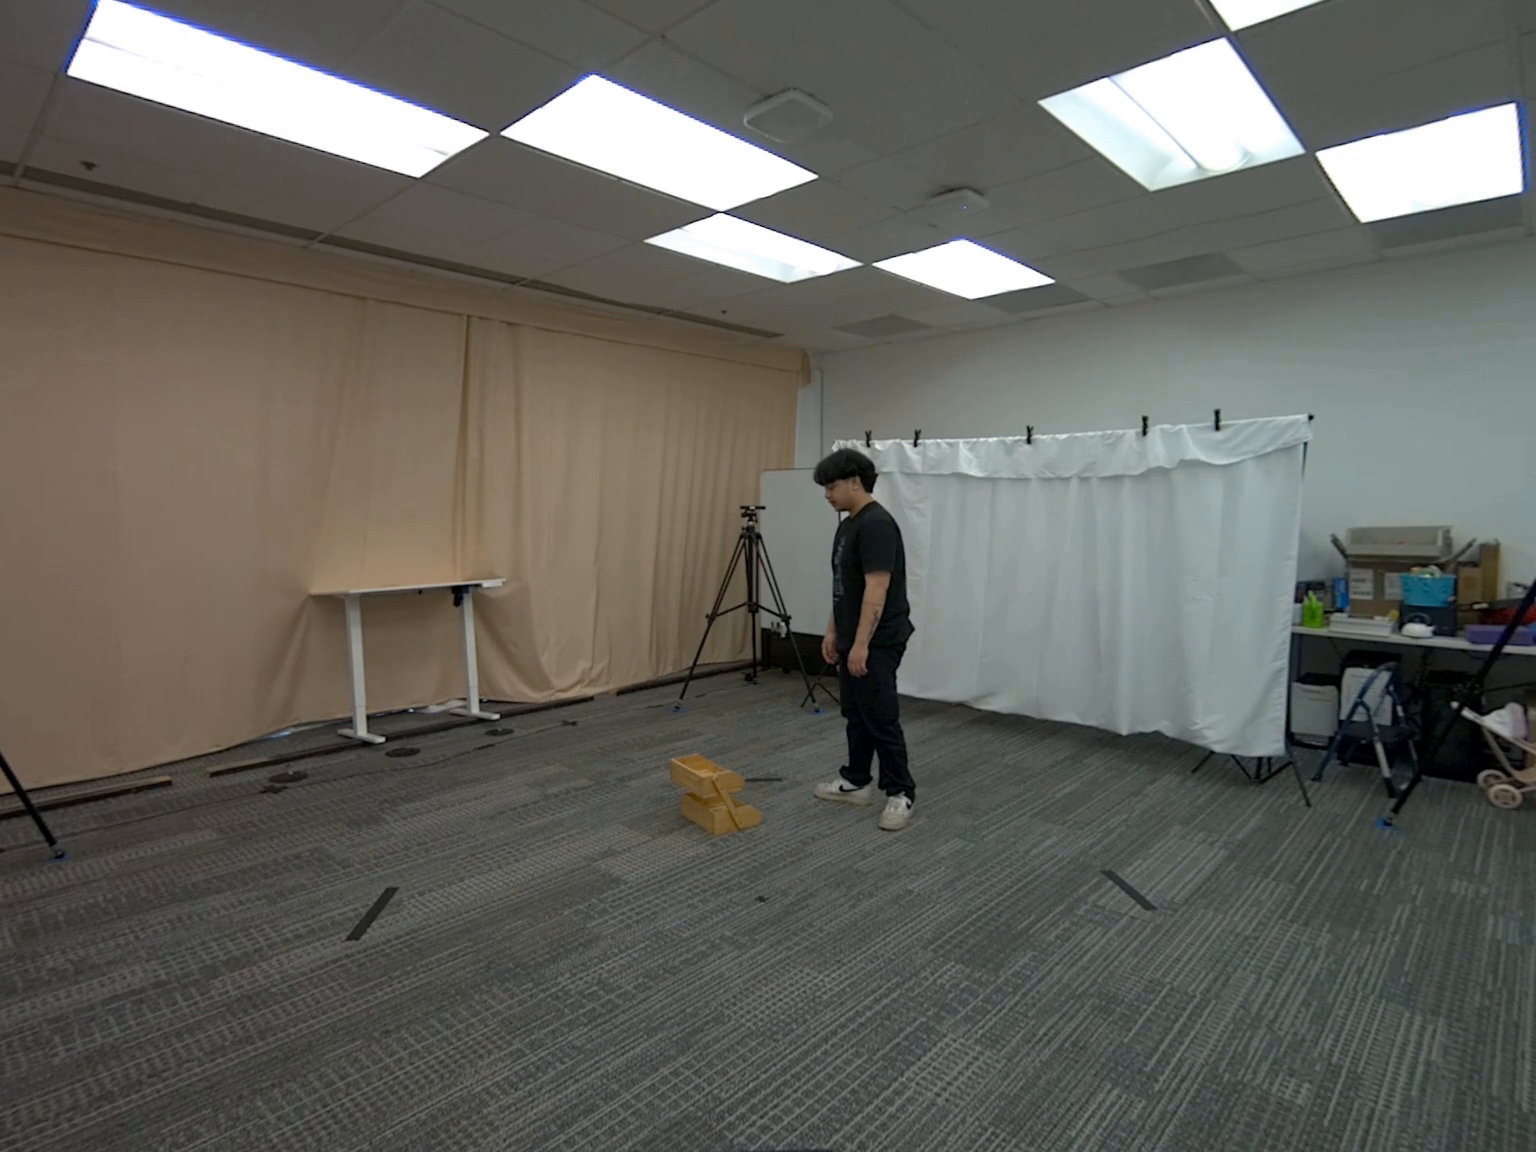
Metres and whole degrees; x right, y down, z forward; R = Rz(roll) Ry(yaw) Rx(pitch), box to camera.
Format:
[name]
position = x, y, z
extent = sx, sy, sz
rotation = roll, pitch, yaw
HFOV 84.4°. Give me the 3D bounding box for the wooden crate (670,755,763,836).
[wooden crate]
position = -0.229, 0.953, 3.738
extent = 0.293, 0.273, 0.334
rotation = -3, 5, -33
